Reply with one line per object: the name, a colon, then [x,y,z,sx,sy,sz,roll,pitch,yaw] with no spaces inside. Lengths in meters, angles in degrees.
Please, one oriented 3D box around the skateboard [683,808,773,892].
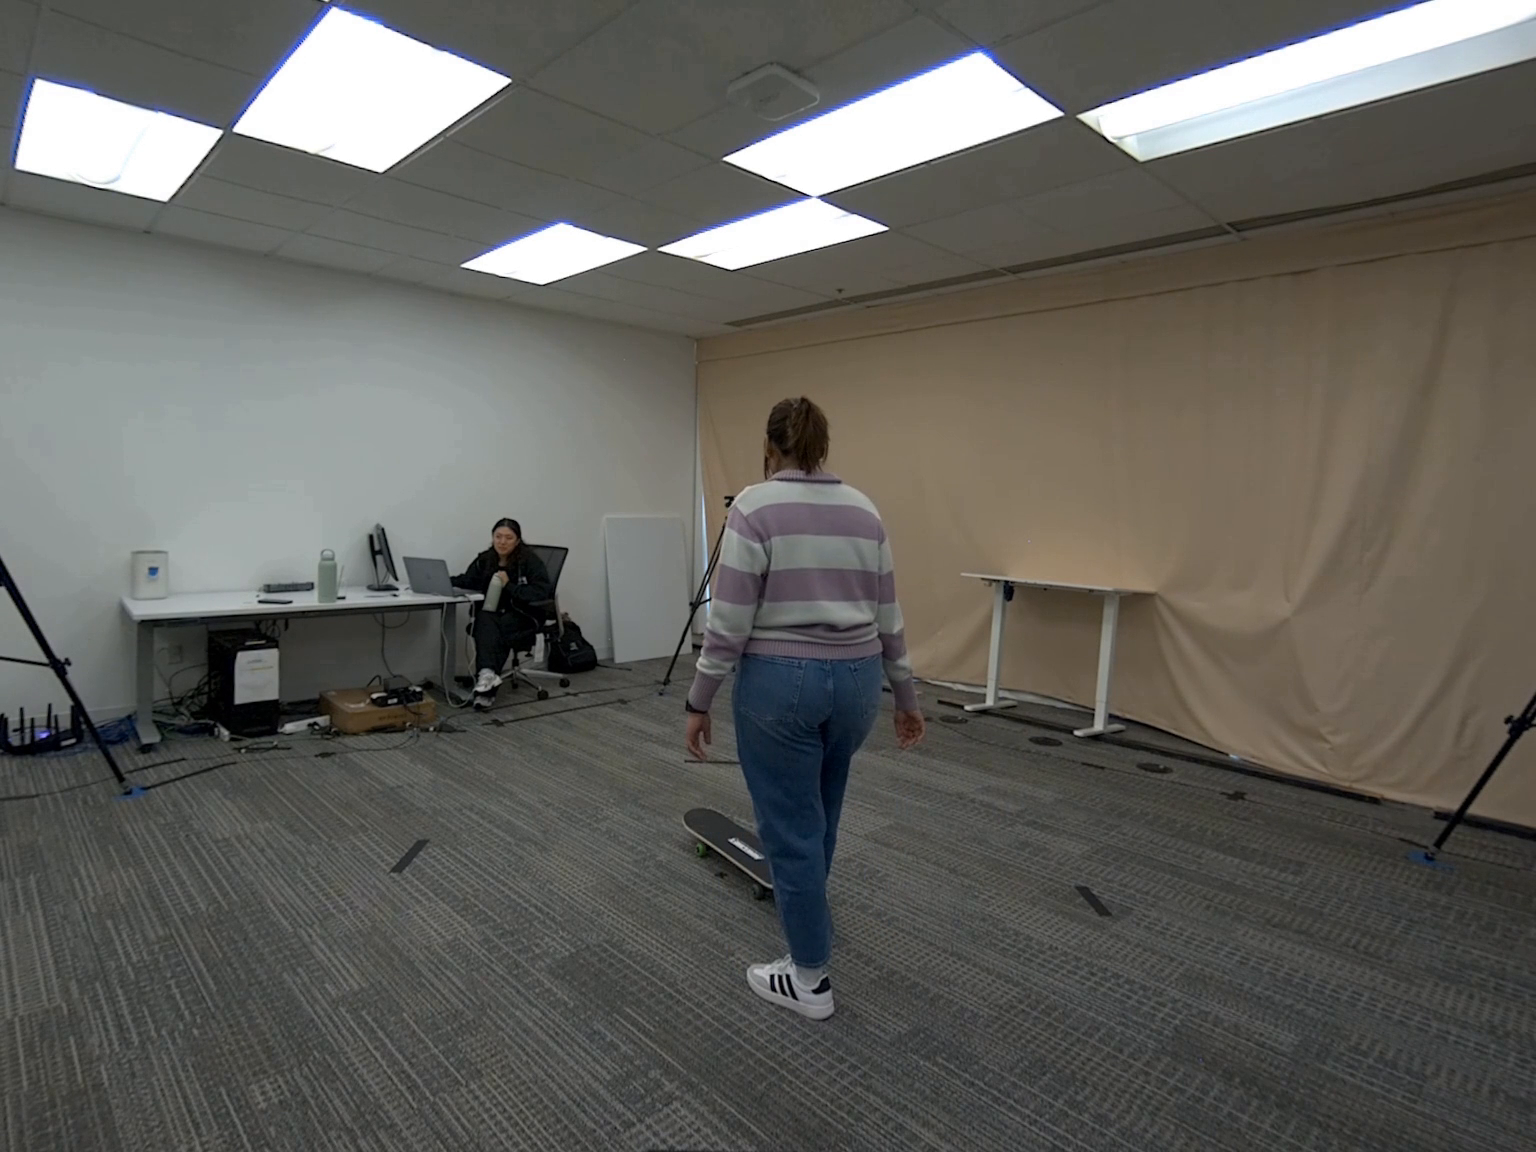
skateboard: [-0.092,1.047,3.140,0.189,0.110,0.804,-1,6,-33]
